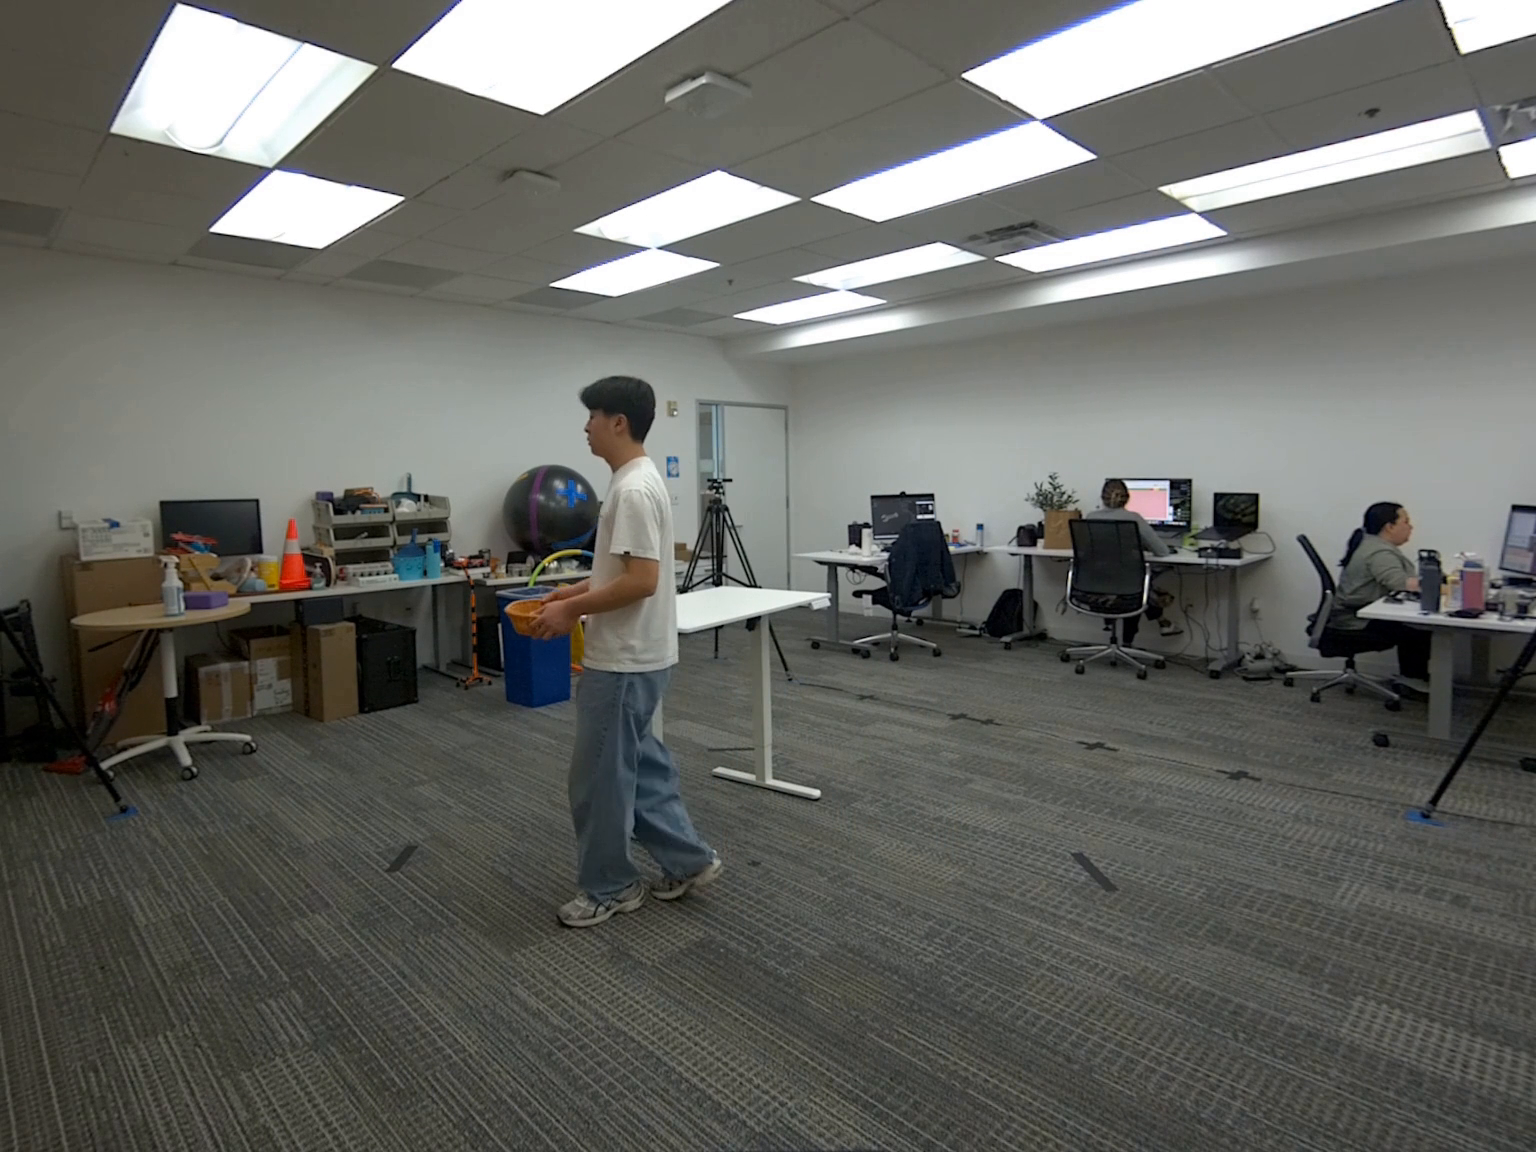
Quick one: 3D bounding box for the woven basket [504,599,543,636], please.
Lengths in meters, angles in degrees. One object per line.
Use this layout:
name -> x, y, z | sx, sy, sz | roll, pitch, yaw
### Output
woven basket -> -0.664, 0.135, 2.714 | 0.253, 0.073, 0.351 | 4, 7, 3
